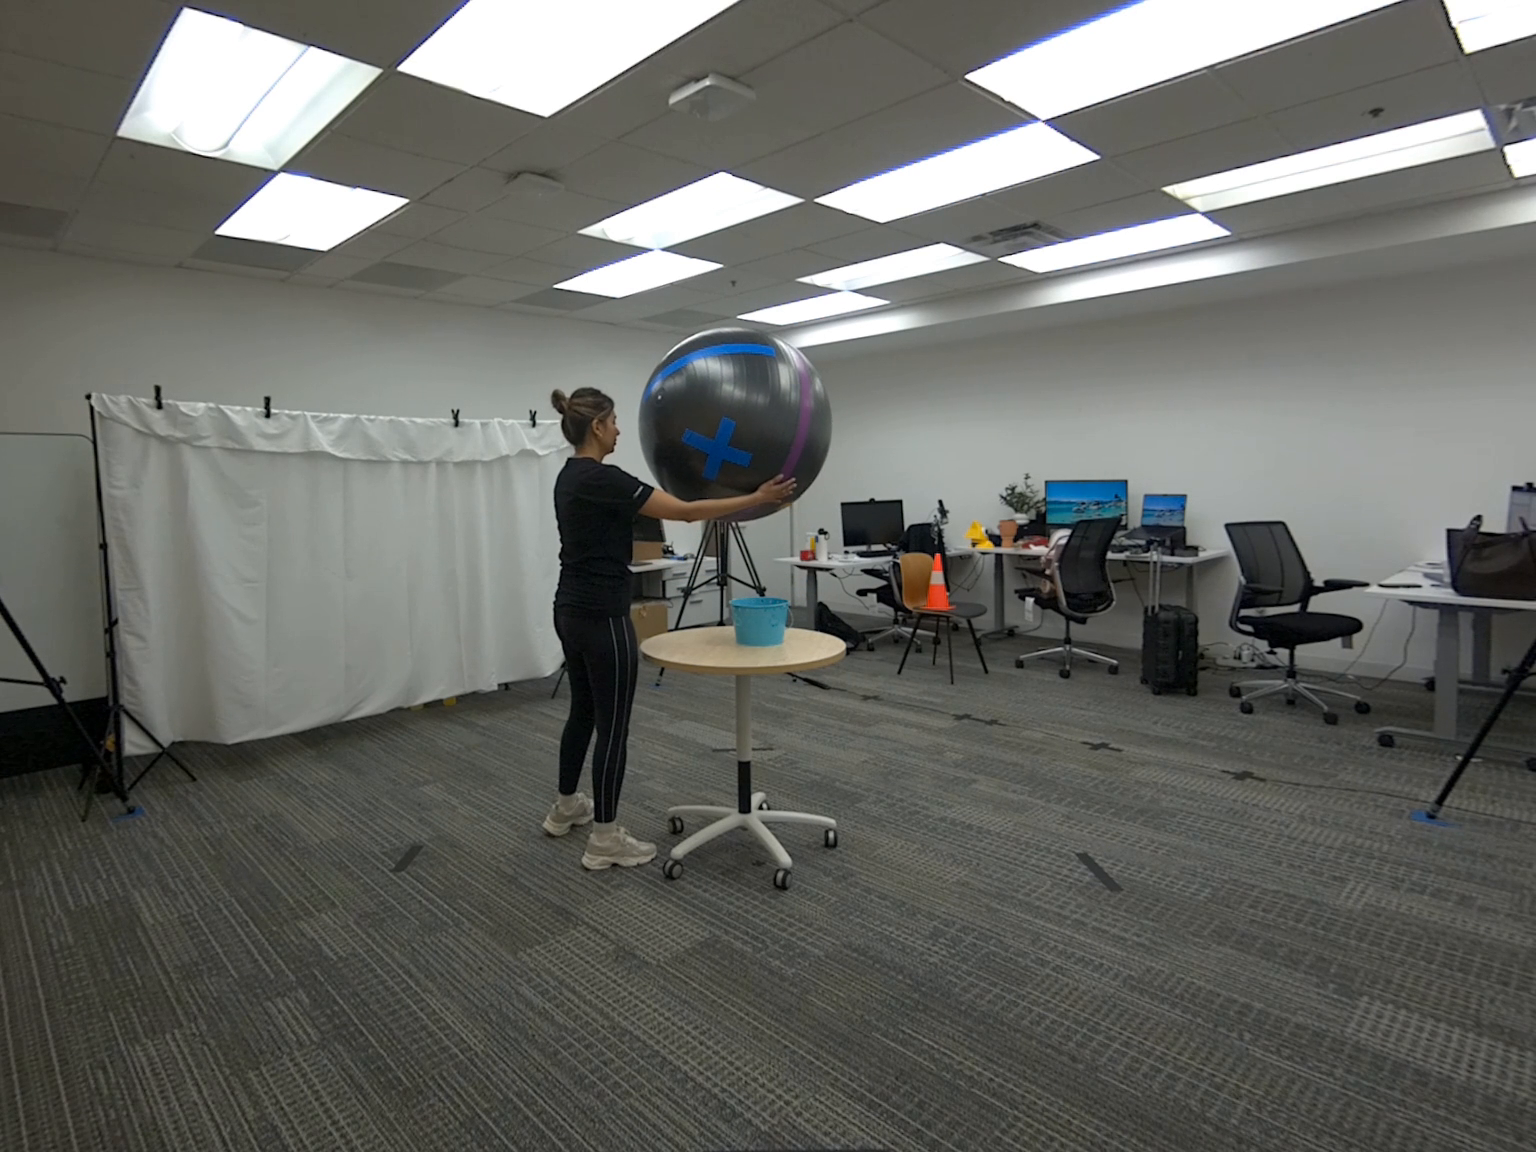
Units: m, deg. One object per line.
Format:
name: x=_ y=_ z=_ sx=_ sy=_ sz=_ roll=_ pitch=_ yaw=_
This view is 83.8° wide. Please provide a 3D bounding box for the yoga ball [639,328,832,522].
yoga ball: x=-0.129 y=-0.580 z=3.354 sx=0.757 sy=0.755 sz=0.762 roll=-1 pitch=5 yaw=-2
